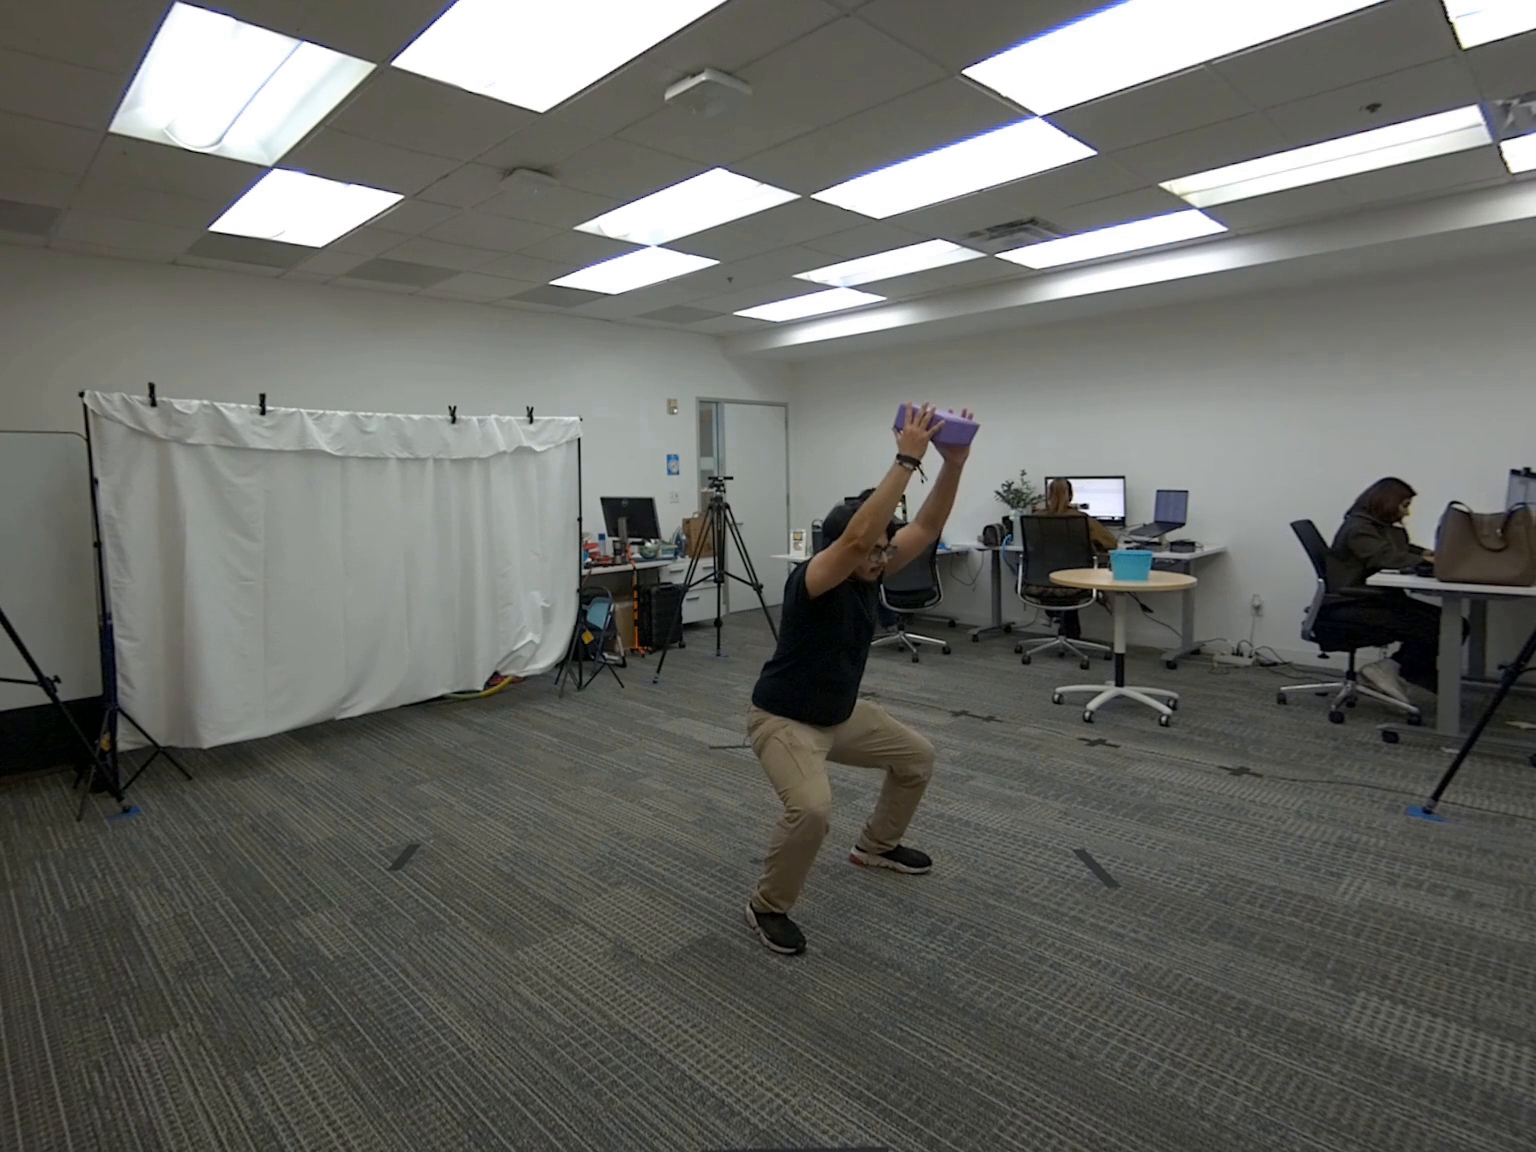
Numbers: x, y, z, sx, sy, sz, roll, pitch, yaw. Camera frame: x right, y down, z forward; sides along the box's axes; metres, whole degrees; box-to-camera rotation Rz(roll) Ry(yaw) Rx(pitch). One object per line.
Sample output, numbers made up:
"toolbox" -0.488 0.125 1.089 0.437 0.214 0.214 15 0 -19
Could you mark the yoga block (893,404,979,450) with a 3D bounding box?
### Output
"yoga block" 0.491 -0.442 2.460 0.154 0.076 0.223 30 22 35
